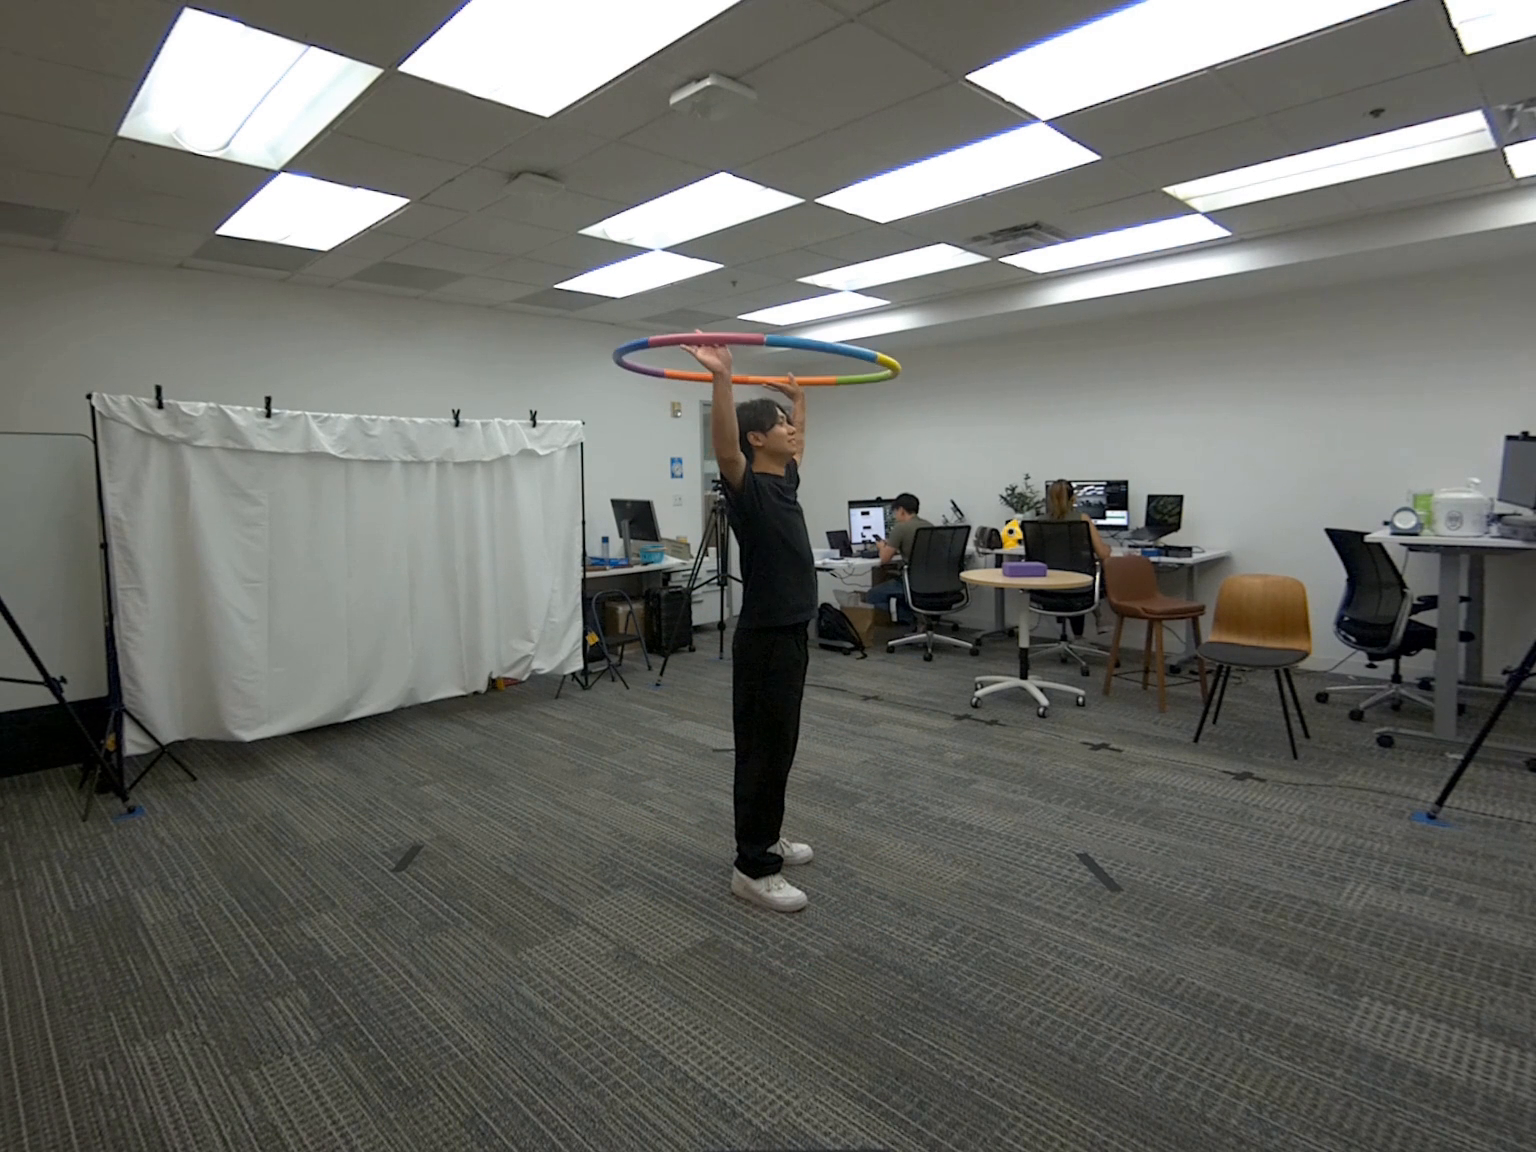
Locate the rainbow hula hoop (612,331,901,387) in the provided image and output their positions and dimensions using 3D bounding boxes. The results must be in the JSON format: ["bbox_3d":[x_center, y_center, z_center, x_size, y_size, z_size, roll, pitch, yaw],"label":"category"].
[{"bbox_3d":[-0.045,-0.714,2.910,0.978,0.035,0.984,3,6,-2],"label":"rainbow hula hoop"}]
